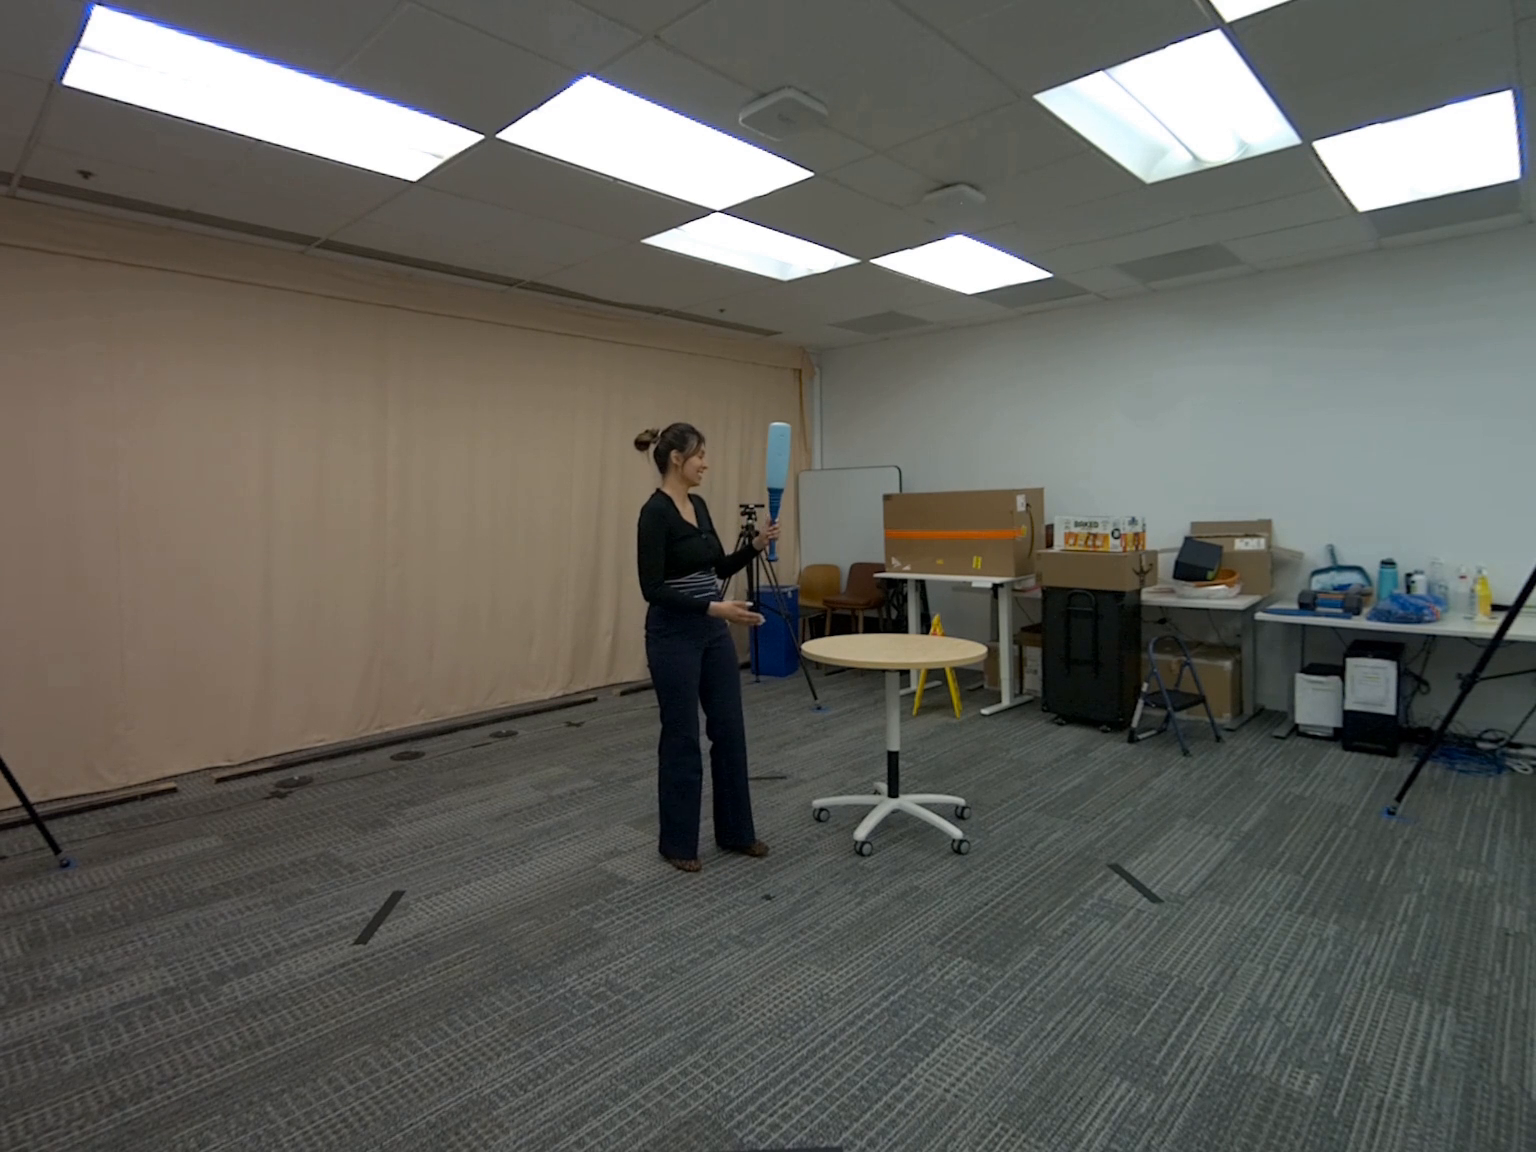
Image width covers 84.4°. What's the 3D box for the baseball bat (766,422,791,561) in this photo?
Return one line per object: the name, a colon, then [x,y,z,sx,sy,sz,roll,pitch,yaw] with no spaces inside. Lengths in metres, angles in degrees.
baseball bat: [0.025,-0.322,3.295,0.089,0.541,0.089,5,6,-2]
